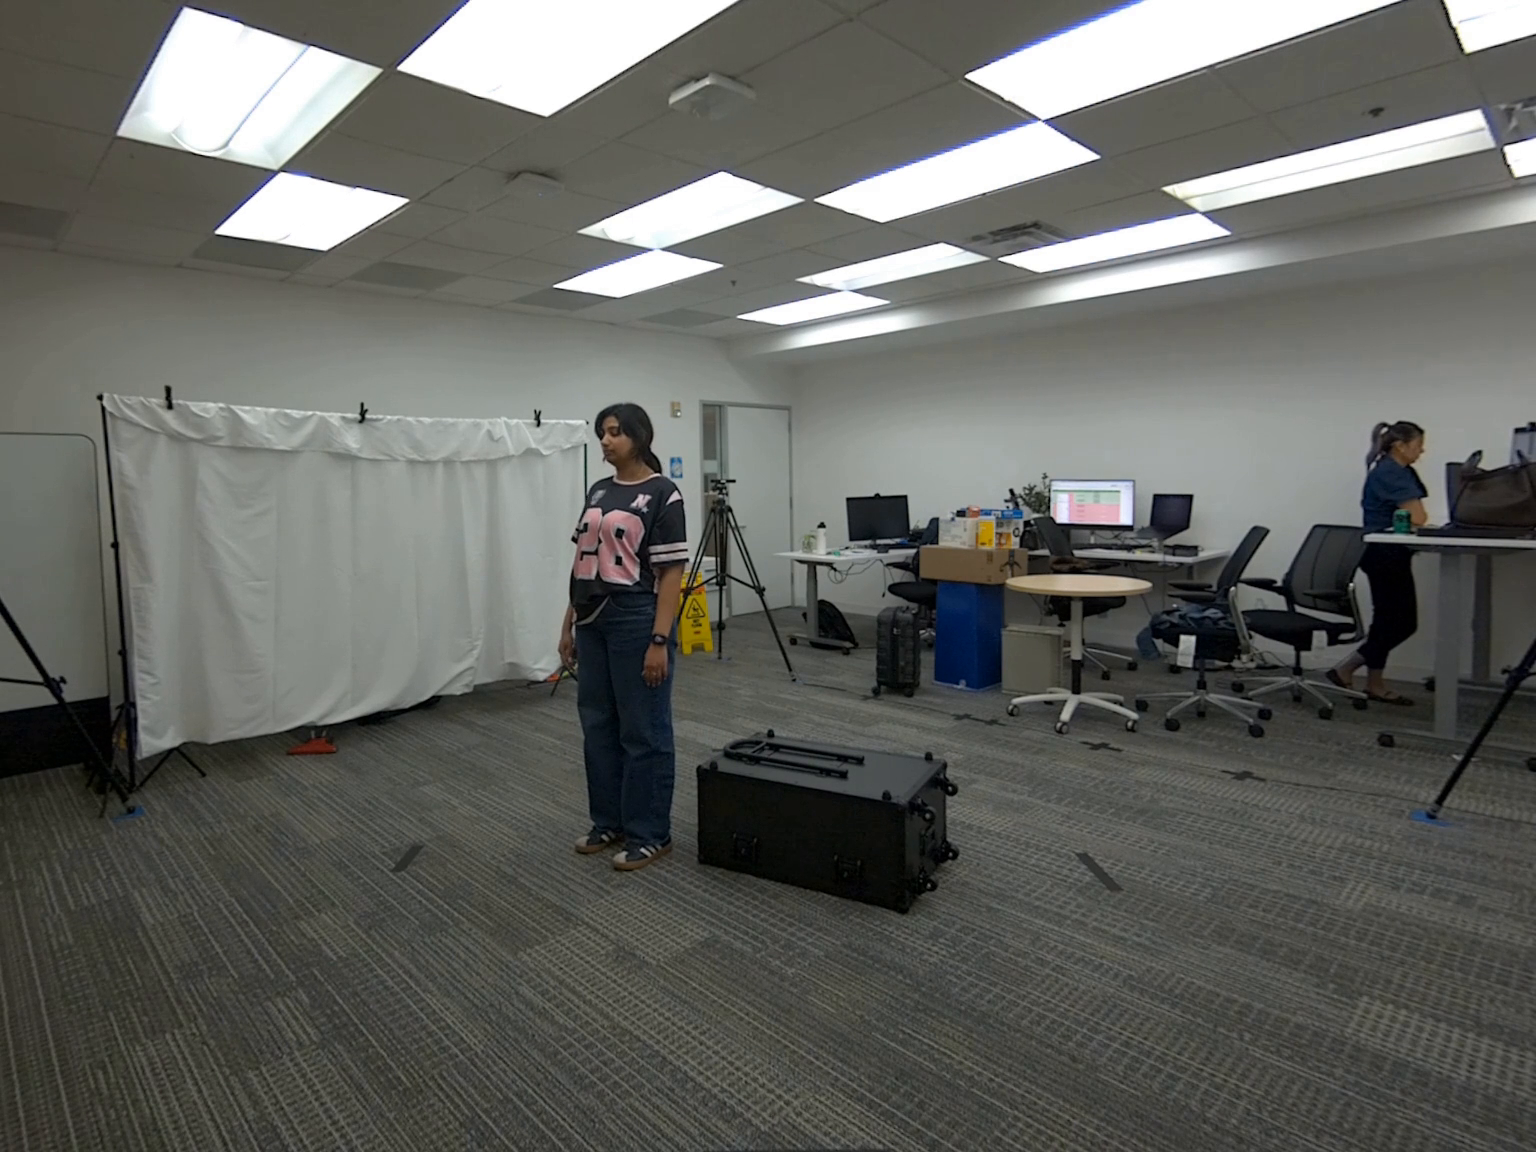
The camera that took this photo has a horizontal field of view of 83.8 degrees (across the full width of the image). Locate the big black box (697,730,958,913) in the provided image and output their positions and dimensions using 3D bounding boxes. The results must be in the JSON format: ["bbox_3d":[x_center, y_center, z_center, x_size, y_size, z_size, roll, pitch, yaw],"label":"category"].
[{"bbox_3d":[0.234,0.854,3.106,0.891,0.384,0.512,2,5,29],"label":"big black box"}]
